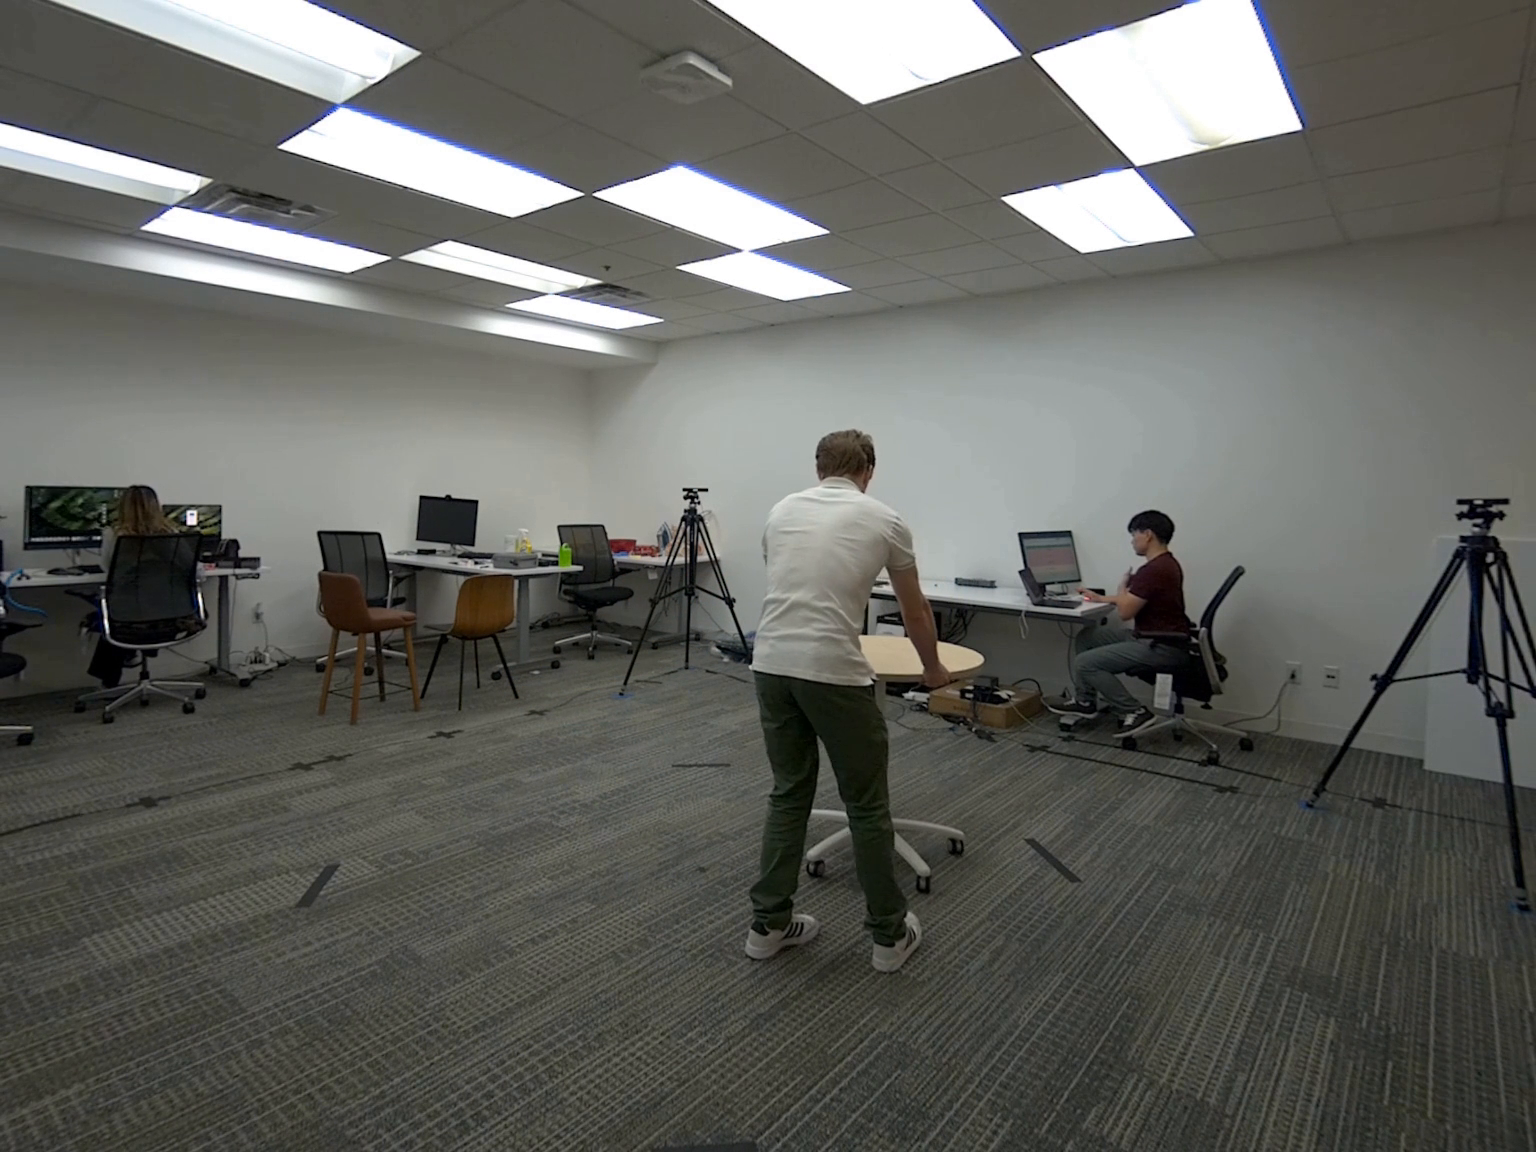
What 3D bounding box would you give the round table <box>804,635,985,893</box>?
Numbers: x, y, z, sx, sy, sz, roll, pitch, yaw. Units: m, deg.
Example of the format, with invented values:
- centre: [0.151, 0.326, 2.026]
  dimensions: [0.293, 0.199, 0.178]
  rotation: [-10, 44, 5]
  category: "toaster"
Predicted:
- centre: [0.405, 0.676, 3.239]
  dimensions: [0.784, 0.784, 0.789]
  rotation: [1, 4, -2]
  category: "round table"
